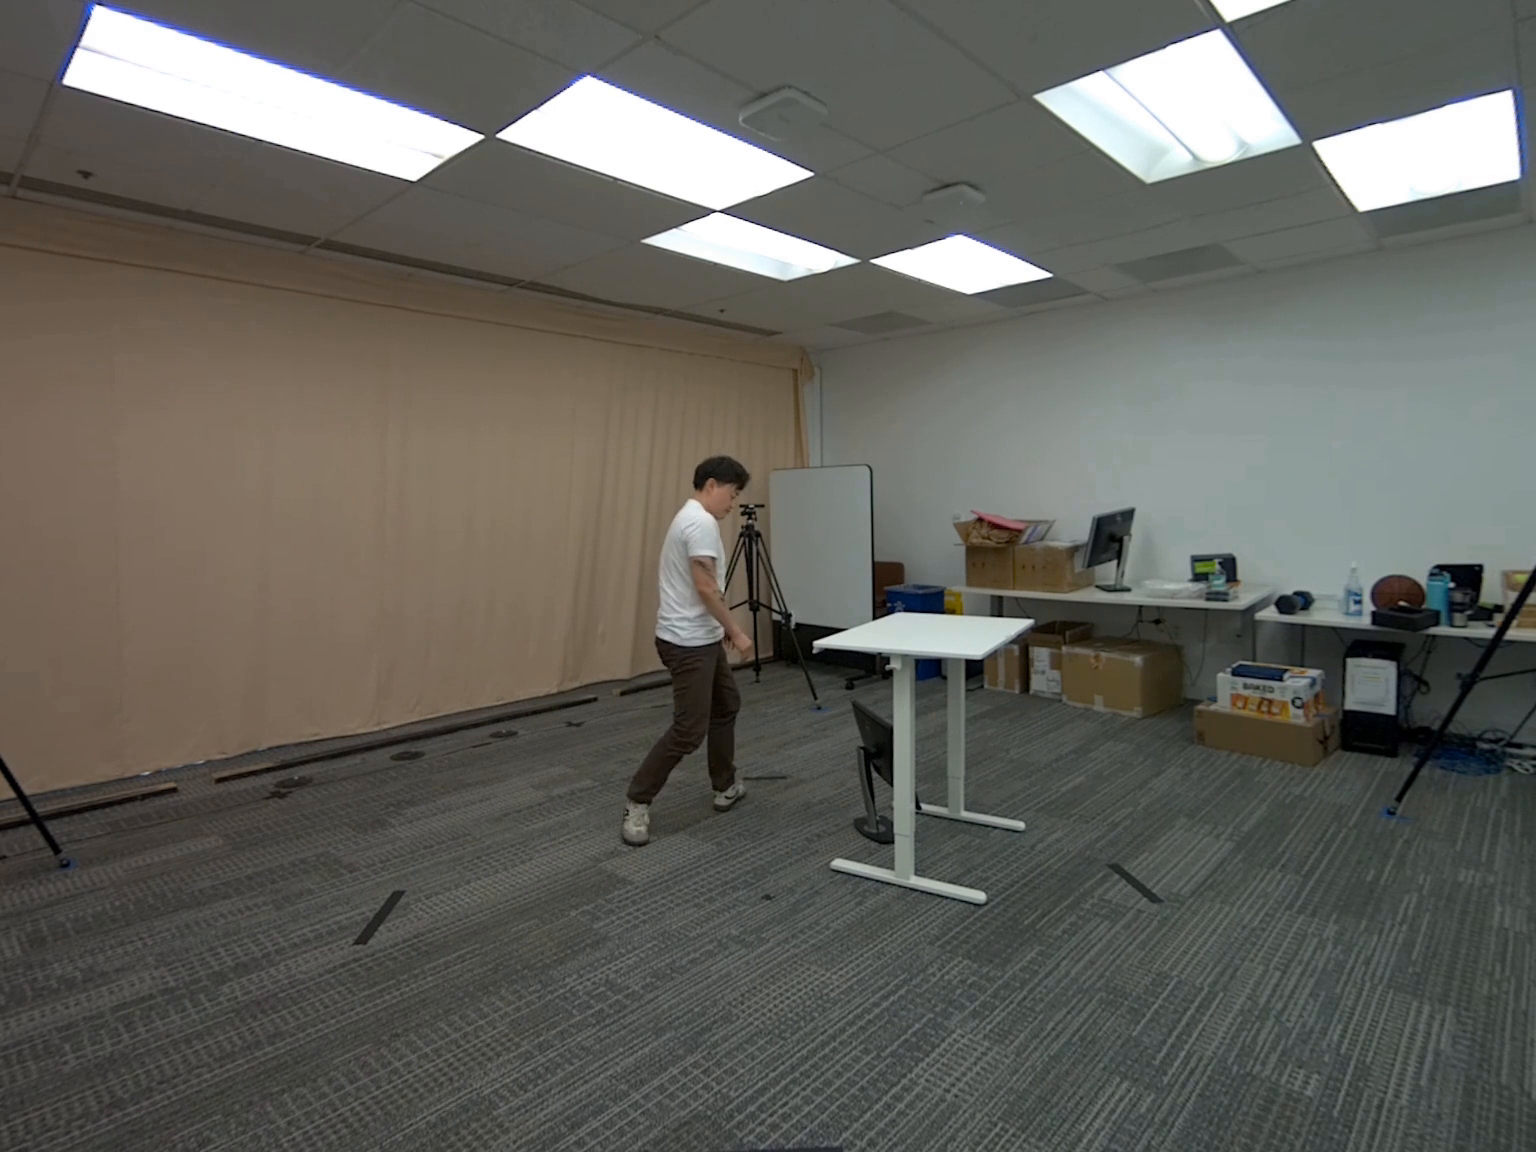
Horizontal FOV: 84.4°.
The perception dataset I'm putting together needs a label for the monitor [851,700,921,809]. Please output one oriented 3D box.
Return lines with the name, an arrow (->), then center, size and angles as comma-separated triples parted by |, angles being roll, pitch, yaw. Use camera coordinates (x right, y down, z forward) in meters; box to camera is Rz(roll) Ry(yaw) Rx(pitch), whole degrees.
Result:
monitor -> 0.467, 0.829, 3.555 | 0.185, 0.521, 0.548 | -3, 5, -14
